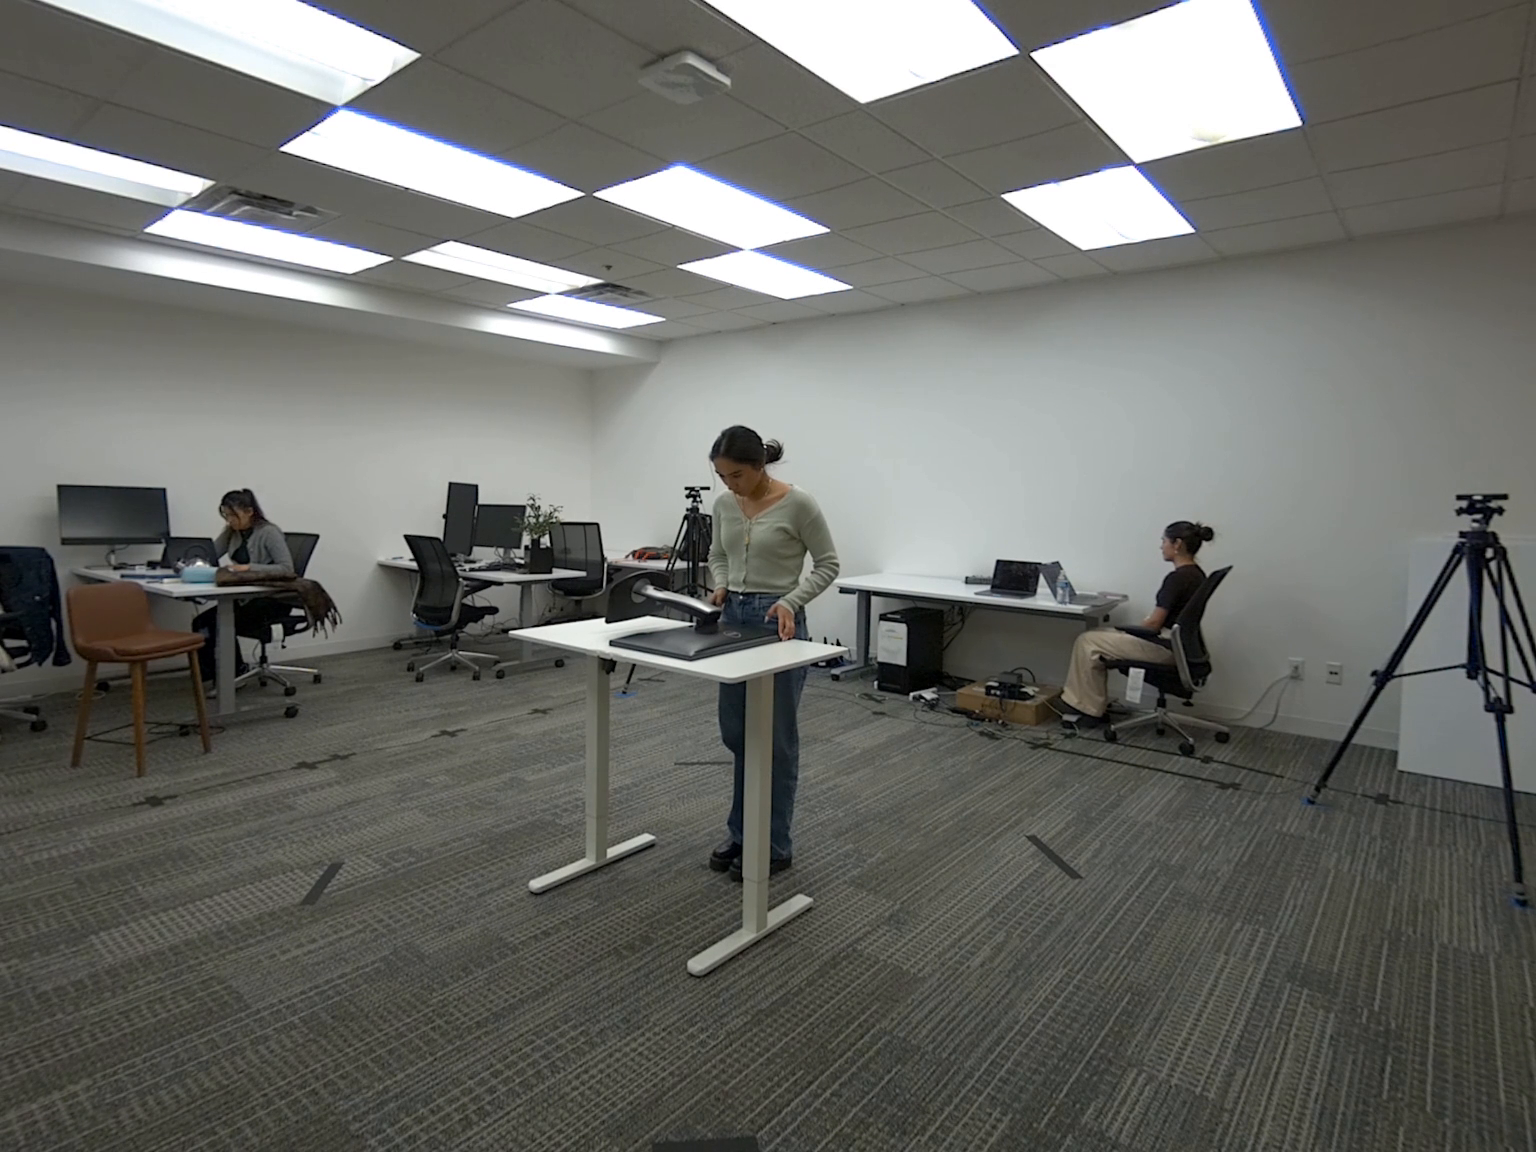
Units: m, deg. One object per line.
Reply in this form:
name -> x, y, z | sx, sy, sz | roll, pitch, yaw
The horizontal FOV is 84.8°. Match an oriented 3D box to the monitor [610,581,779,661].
monitor -> -0.286, 0.150, 2.849 | 0.543, 0.185, 0.524 | 22, 20, 36
